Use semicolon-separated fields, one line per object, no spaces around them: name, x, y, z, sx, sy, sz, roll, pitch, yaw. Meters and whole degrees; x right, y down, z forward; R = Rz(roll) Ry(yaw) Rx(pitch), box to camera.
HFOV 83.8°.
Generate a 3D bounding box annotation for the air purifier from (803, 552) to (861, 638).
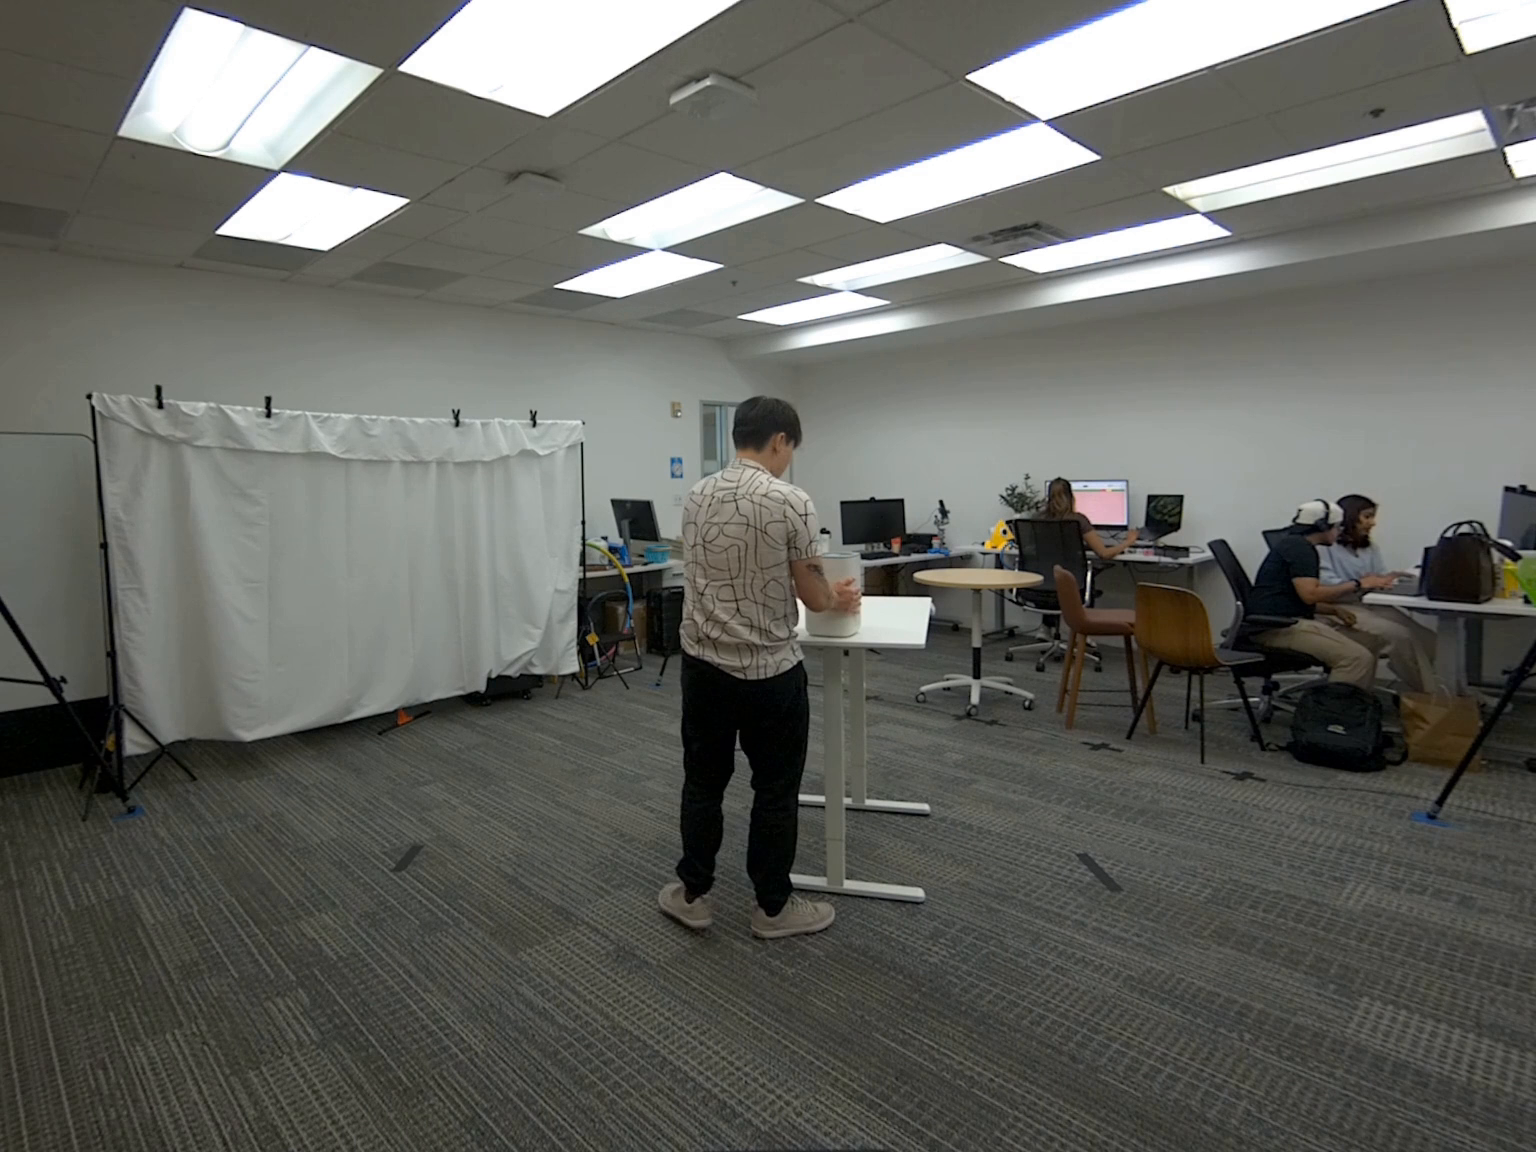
air purifier;0.225;0.066;2.831;0.174;0.264;0.169;2;5;17
